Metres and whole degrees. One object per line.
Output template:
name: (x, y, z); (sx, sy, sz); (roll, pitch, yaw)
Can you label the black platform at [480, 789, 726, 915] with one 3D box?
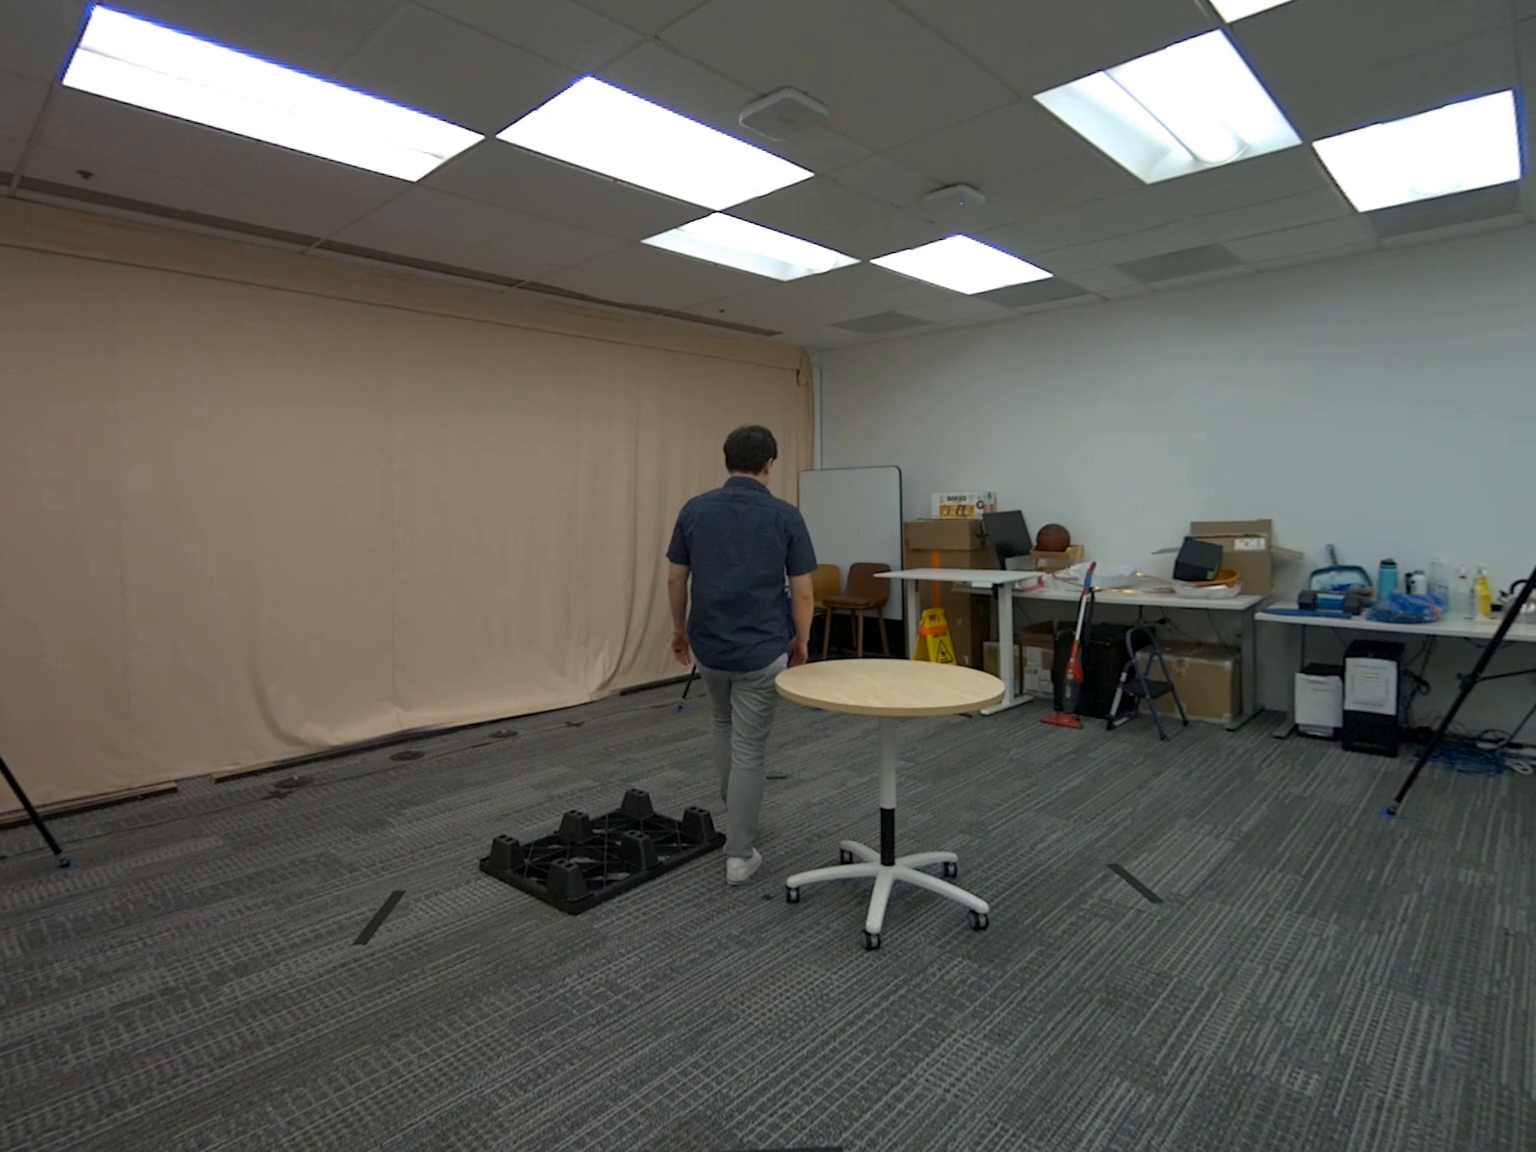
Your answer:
black platform: (-0.648, 1.056, 3.365); (0.625, 0.143, 0.781); (3, 6, 41)
